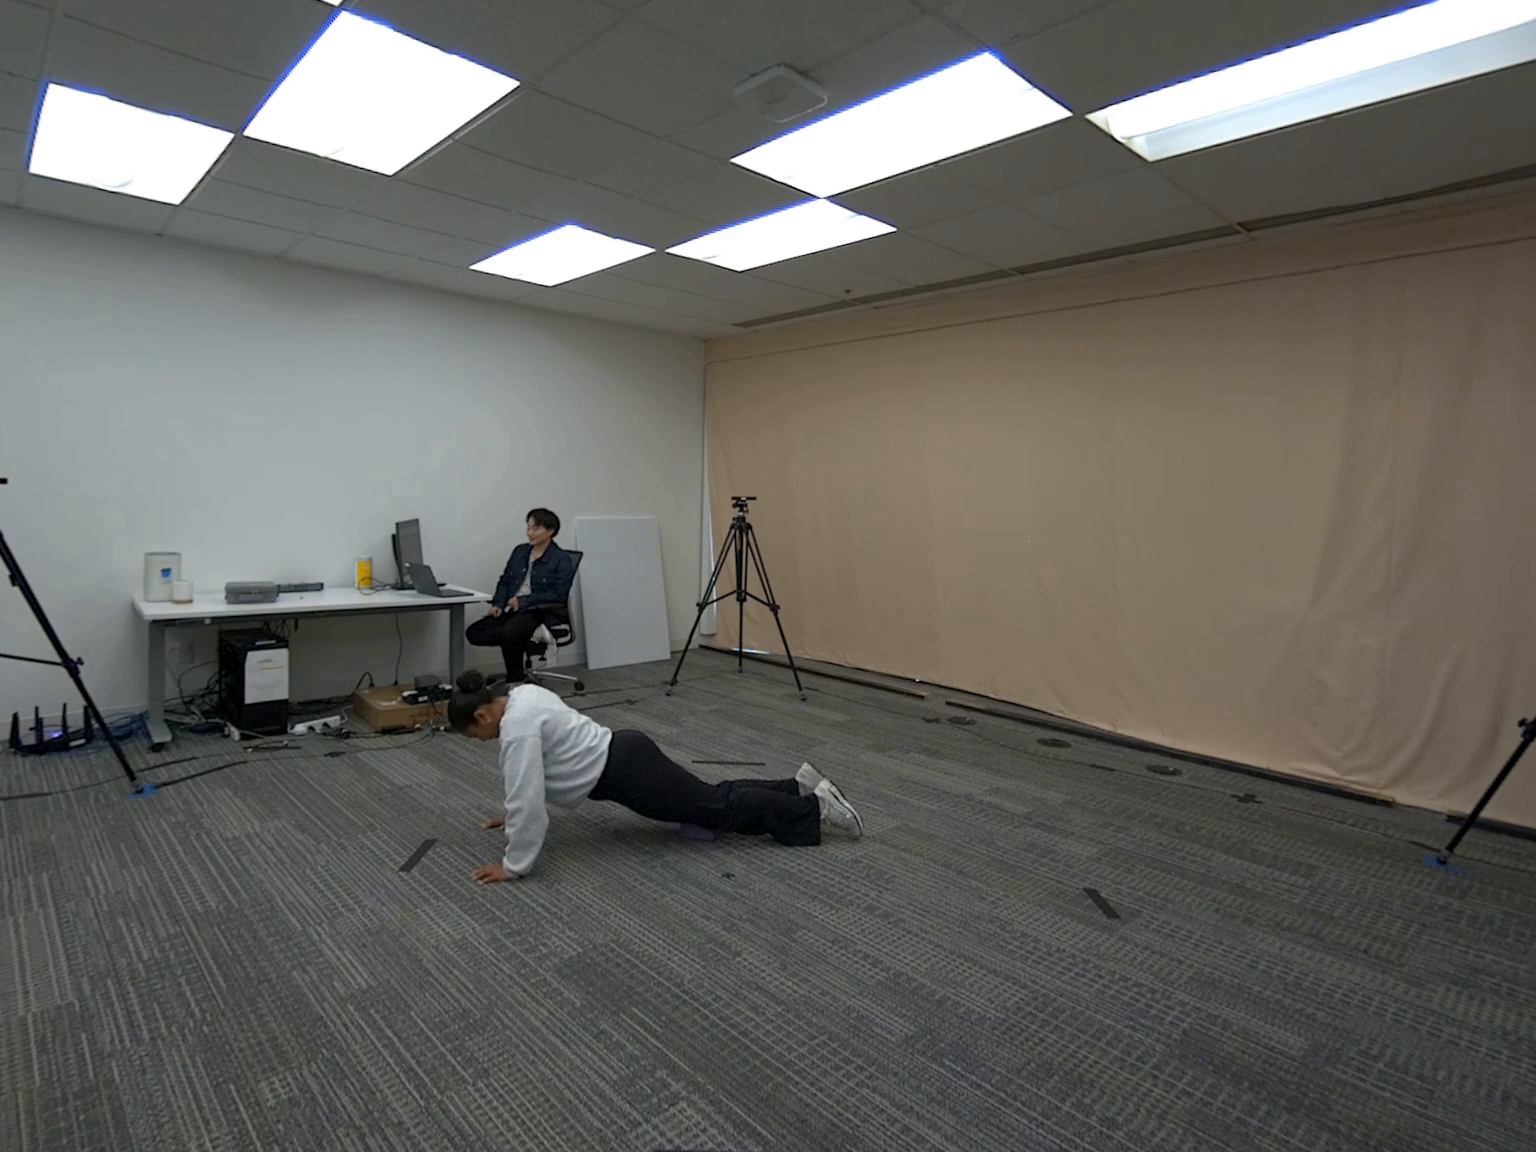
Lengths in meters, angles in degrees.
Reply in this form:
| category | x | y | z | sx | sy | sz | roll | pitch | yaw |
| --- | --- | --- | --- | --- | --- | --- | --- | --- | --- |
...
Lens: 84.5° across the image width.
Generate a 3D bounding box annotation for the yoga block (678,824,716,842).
| category | x | y | z | sx | sy | sz | roll | pitch | yaw |
| --- | --- | --- | --- | --- | --- | --- | --- | --- | --- |
| yoga block | -0.270 | 1.019 | 3.526 | 0.150 | 0.076 | 0.227 | 4 | 3 | 12 |
